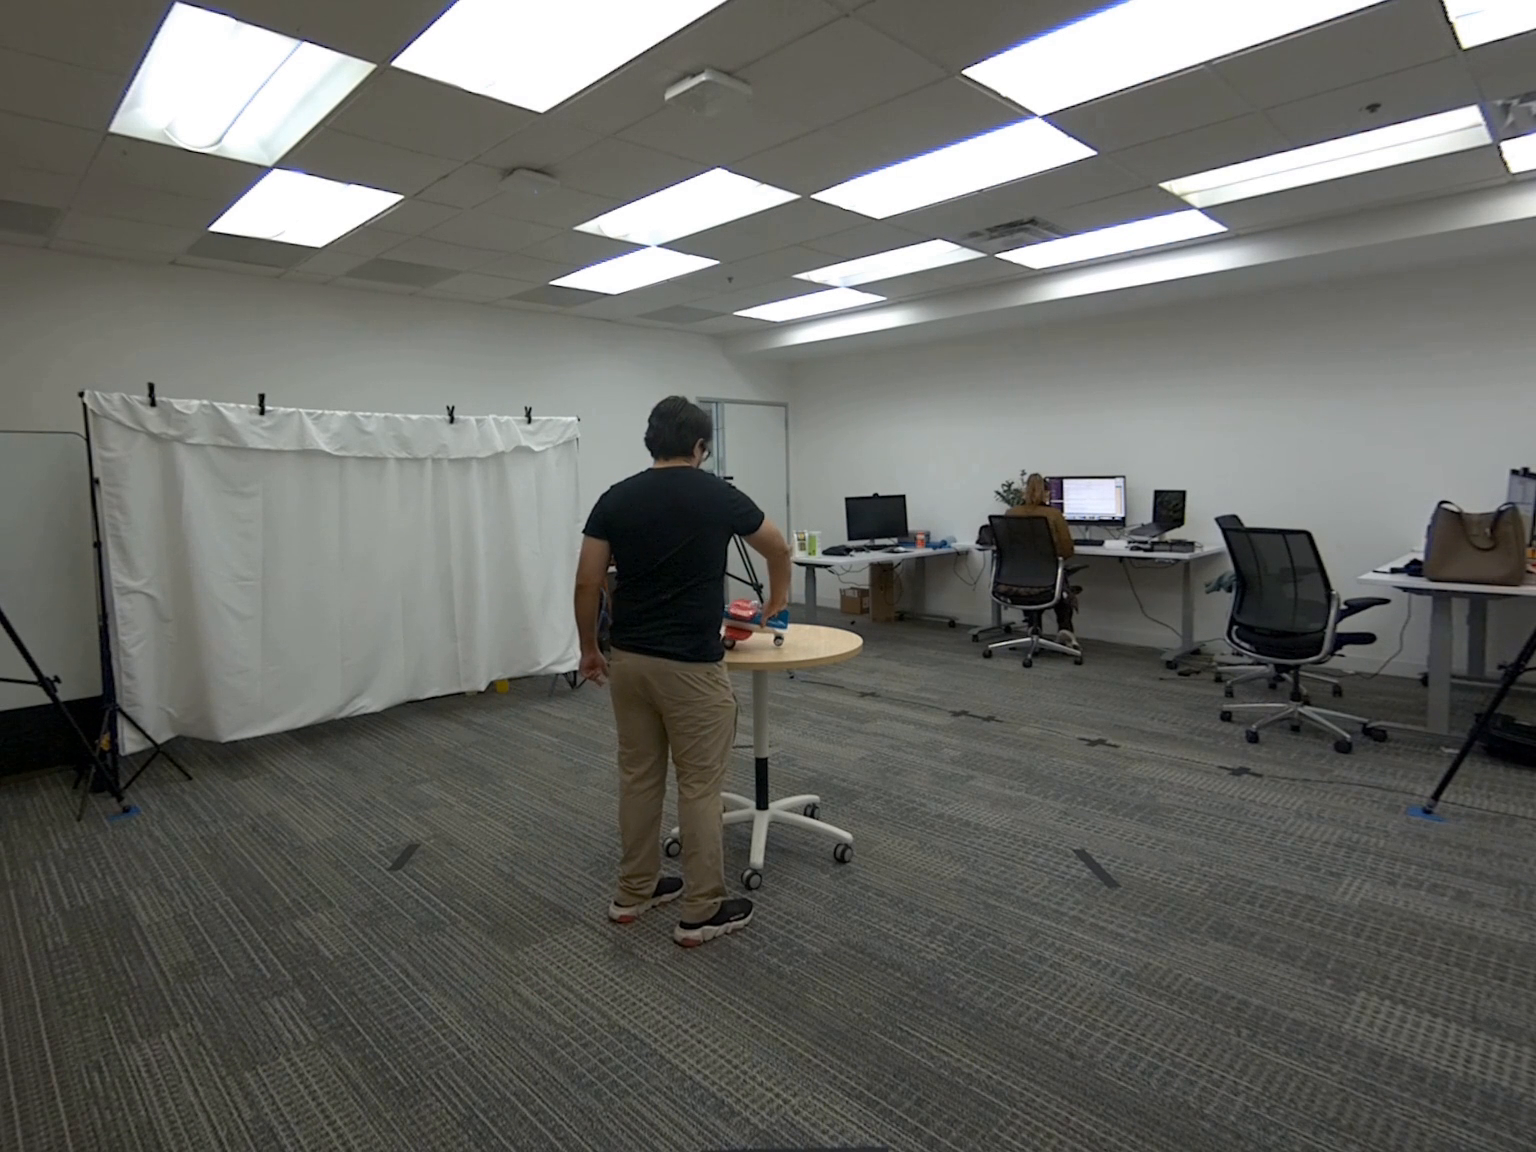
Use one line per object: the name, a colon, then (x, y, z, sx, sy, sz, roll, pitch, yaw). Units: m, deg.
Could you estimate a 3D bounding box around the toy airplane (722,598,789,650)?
toy airplane: (-0.075, 0.173, 3.078, 0.255, 0.155, 0.257, -7, 9, -20)
